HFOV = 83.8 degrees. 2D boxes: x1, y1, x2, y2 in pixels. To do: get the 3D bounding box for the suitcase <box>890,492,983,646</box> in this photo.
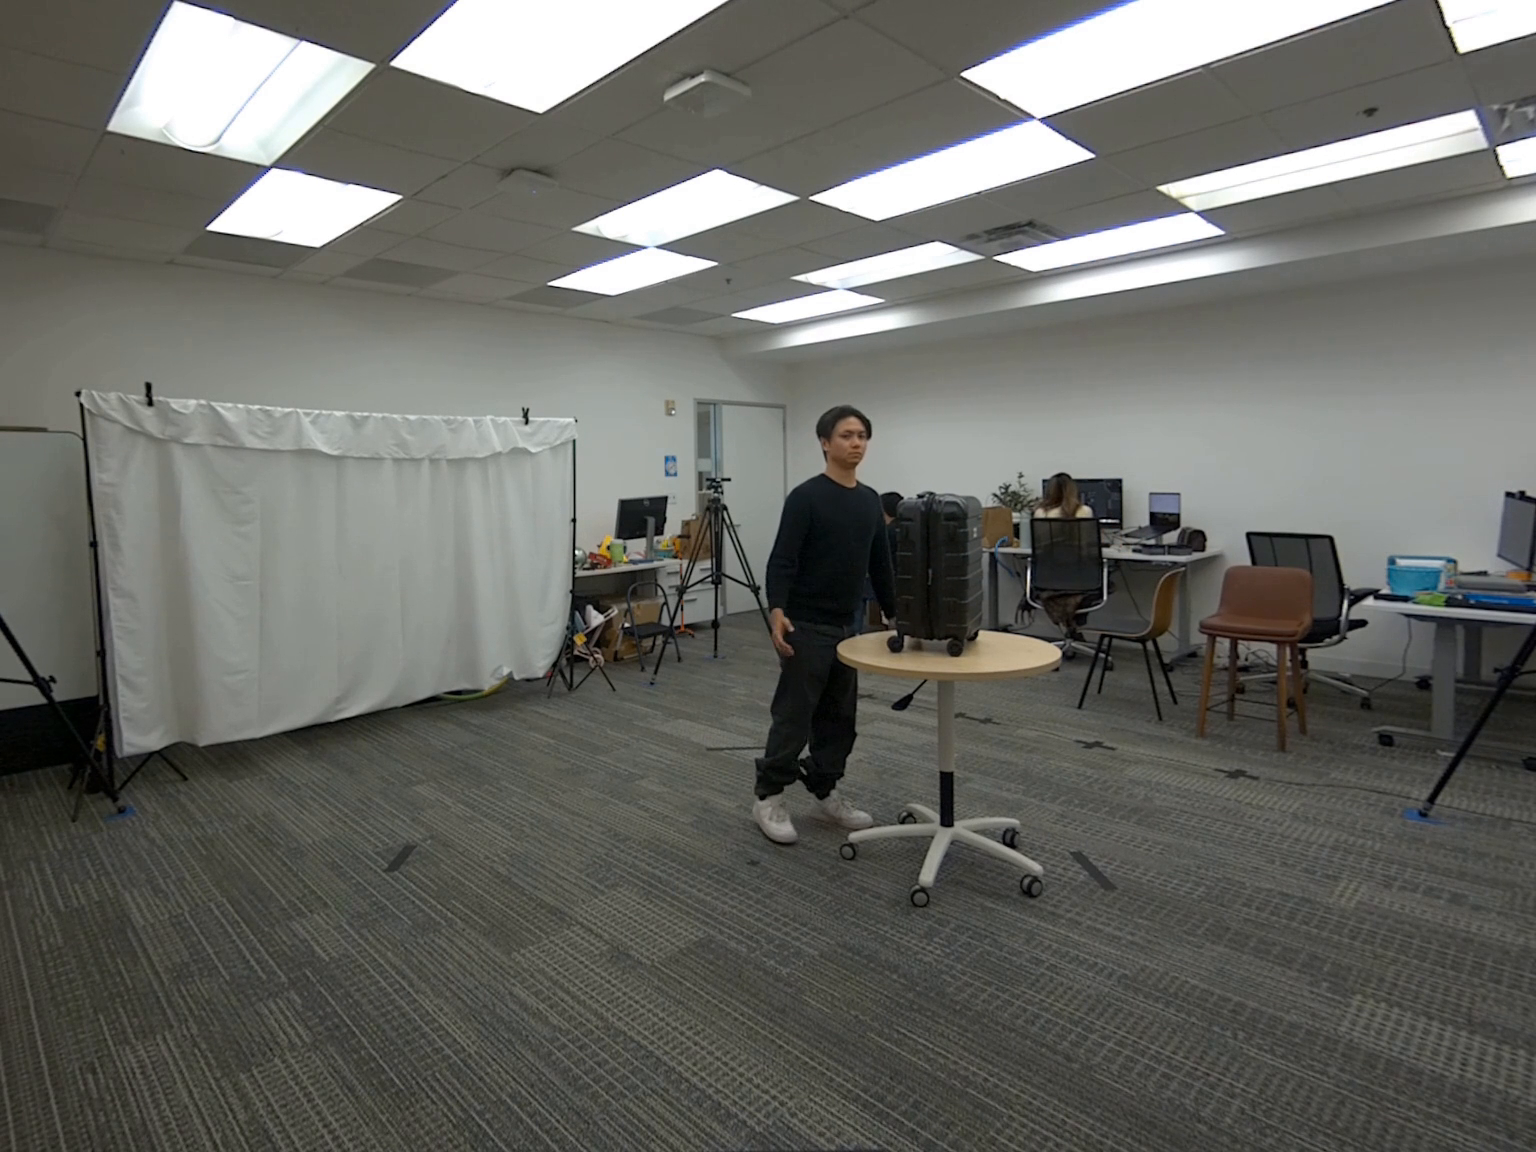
[{"bbox_3d":[0.616,-0.025,3.049,0.254,0.548,0.368,2,4,23],"label":"suitcase"}]
